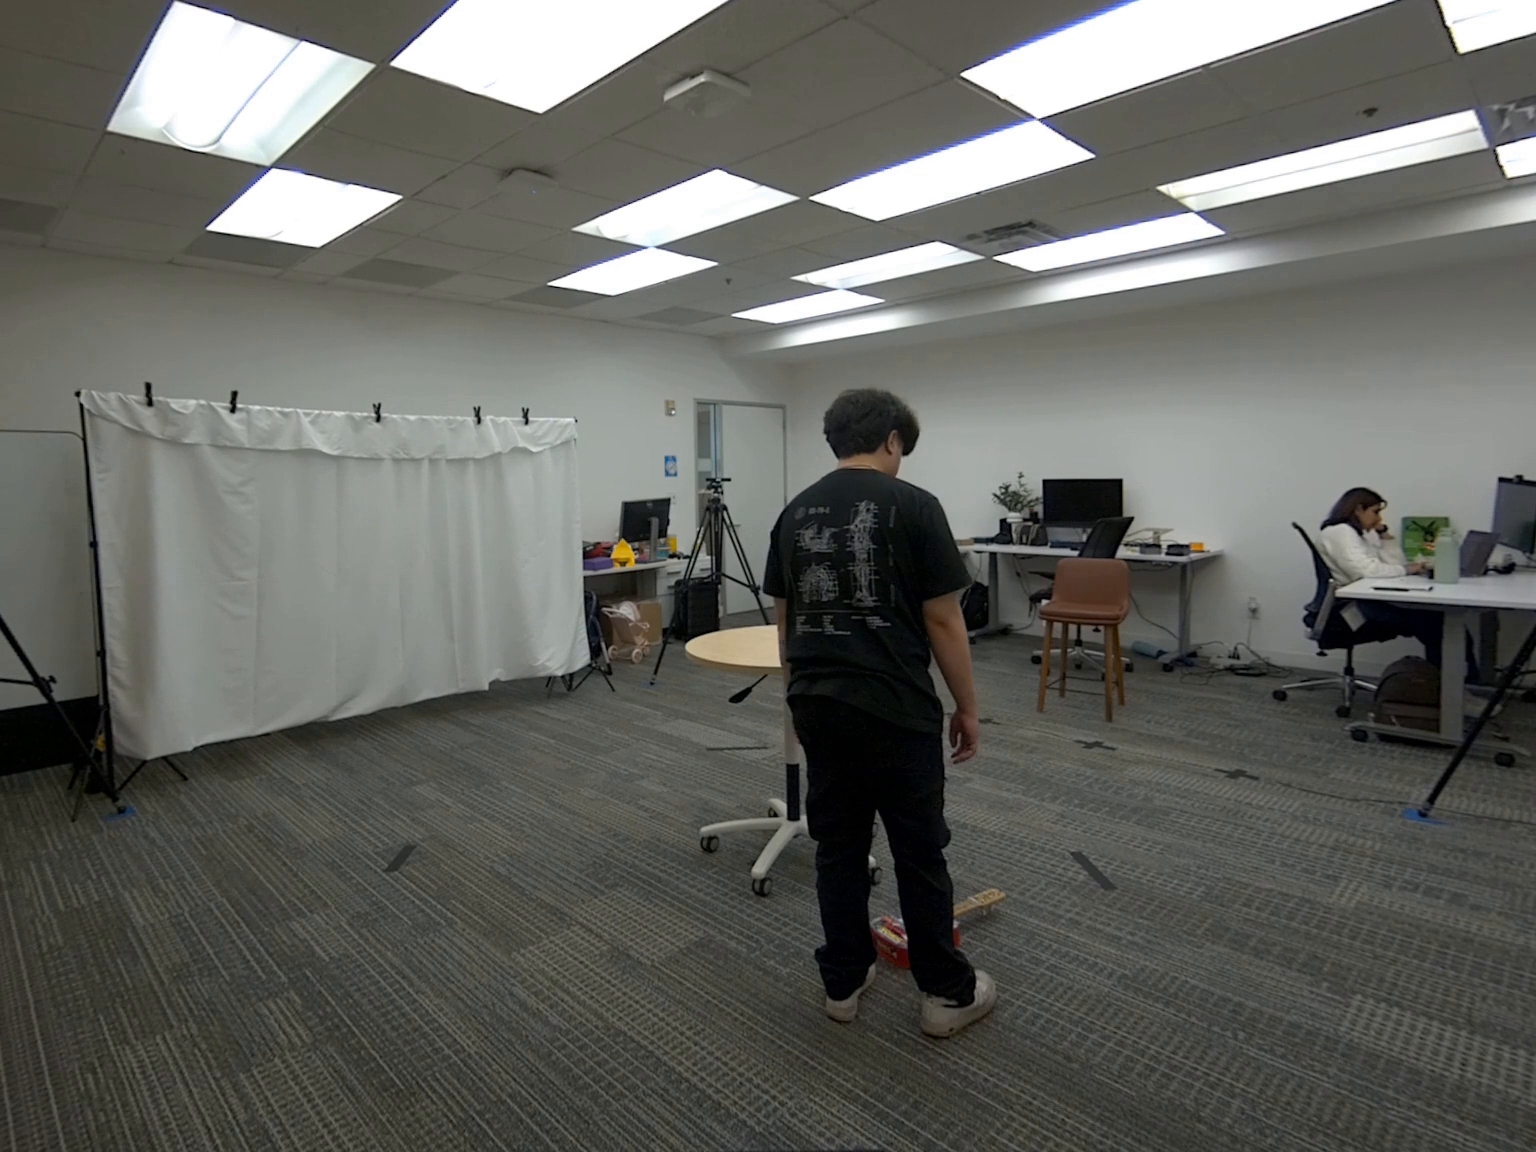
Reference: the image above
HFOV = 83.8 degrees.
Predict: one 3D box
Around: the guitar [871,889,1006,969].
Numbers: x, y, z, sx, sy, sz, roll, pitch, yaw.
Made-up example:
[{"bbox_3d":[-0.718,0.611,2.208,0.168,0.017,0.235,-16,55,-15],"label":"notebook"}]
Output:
[{"bbox_3d":[0.557,1.062,2.576,0.488,0.070,0.197,-5,7,-23],"label":"guitar"}]
